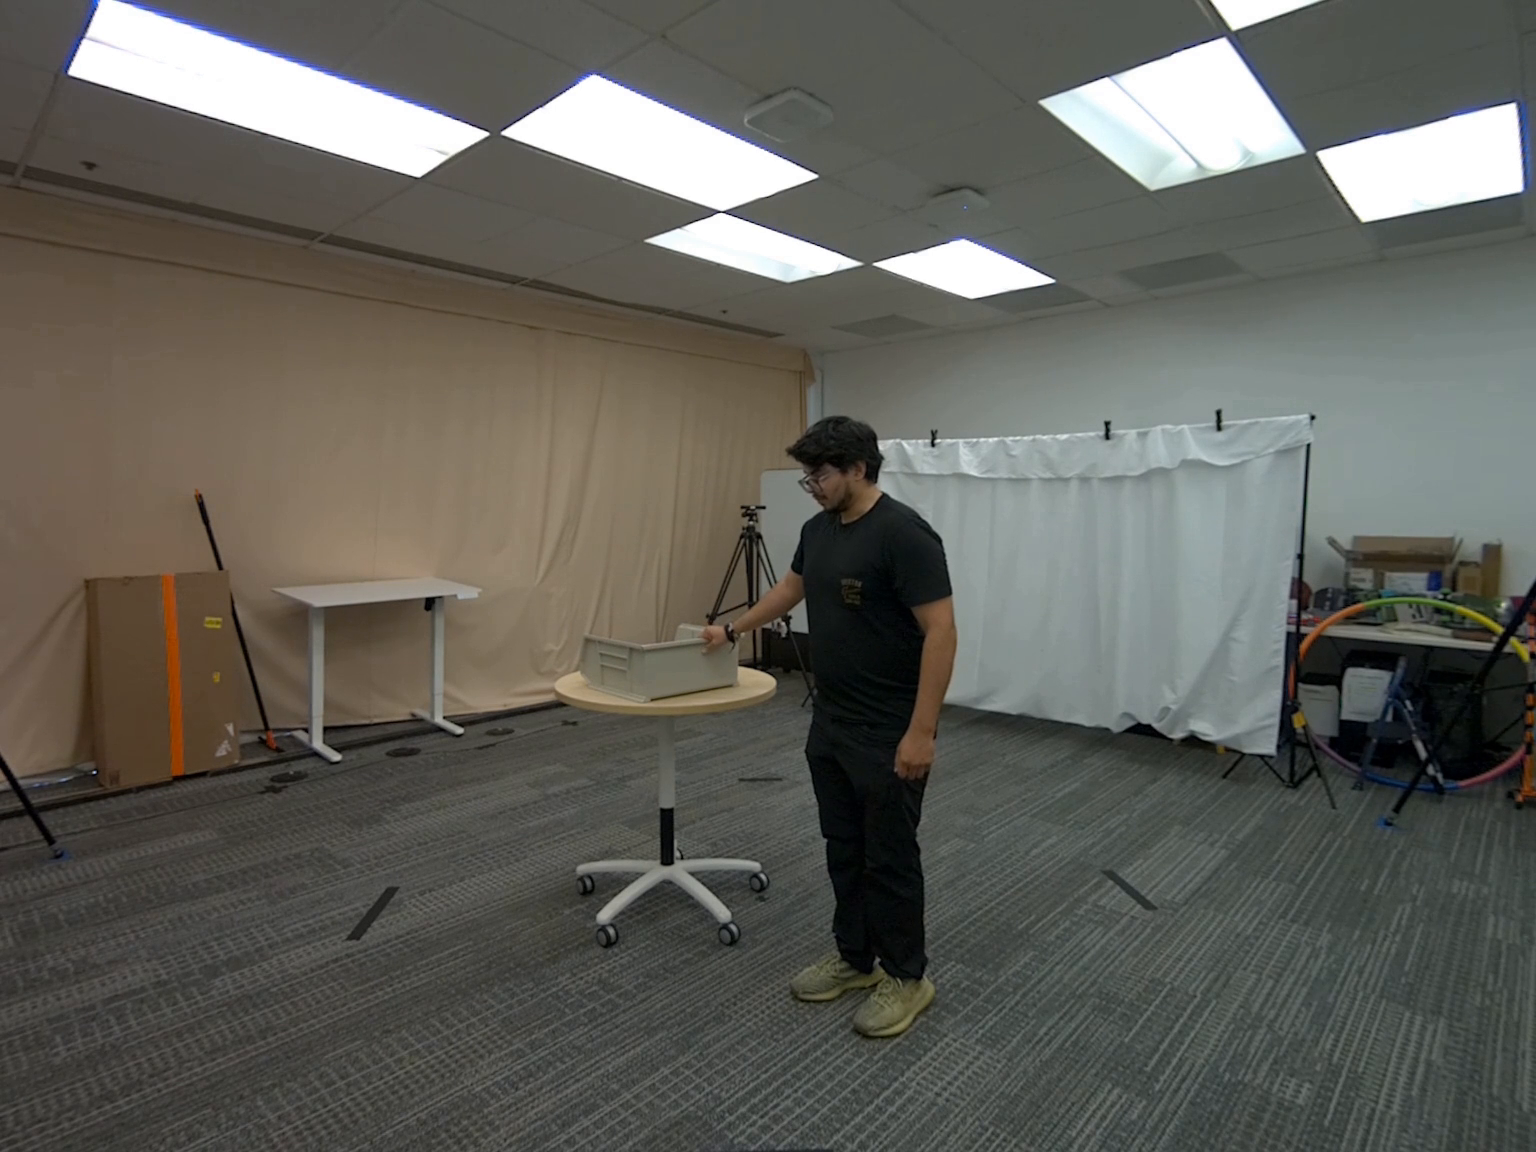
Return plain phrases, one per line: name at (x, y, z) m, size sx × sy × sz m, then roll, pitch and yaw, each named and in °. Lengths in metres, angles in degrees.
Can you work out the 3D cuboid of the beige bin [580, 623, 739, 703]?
beige bin at (-0.364, 0.284, 2.846) m, size 0.409 × 0.188 × 0.390 m, roll -3°, pitch 6°, yaw -42°
